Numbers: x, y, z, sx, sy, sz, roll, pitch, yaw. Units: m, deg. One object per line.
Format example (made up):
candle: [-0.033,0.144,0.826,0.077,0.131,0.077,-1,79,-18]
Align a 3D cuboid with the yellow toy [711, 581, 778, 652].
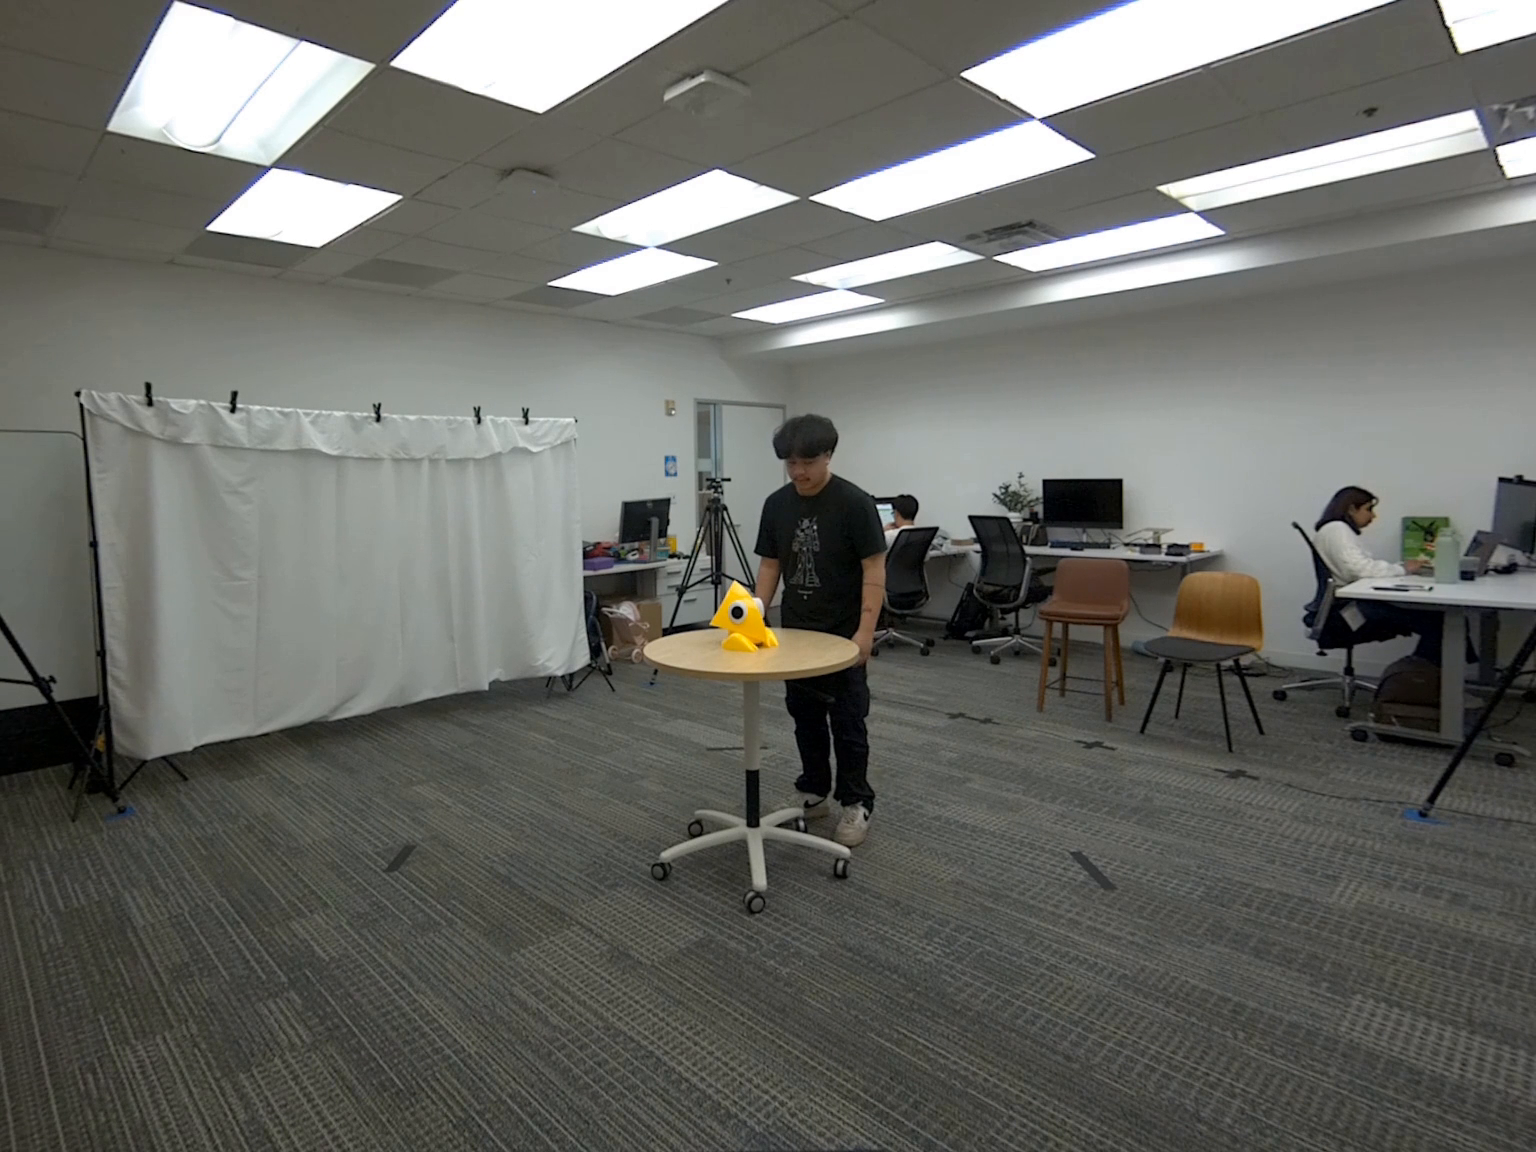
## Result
yellow toy: [-0.069,0.137,3.073,0.199,0.230,0.199,5,7,43]
